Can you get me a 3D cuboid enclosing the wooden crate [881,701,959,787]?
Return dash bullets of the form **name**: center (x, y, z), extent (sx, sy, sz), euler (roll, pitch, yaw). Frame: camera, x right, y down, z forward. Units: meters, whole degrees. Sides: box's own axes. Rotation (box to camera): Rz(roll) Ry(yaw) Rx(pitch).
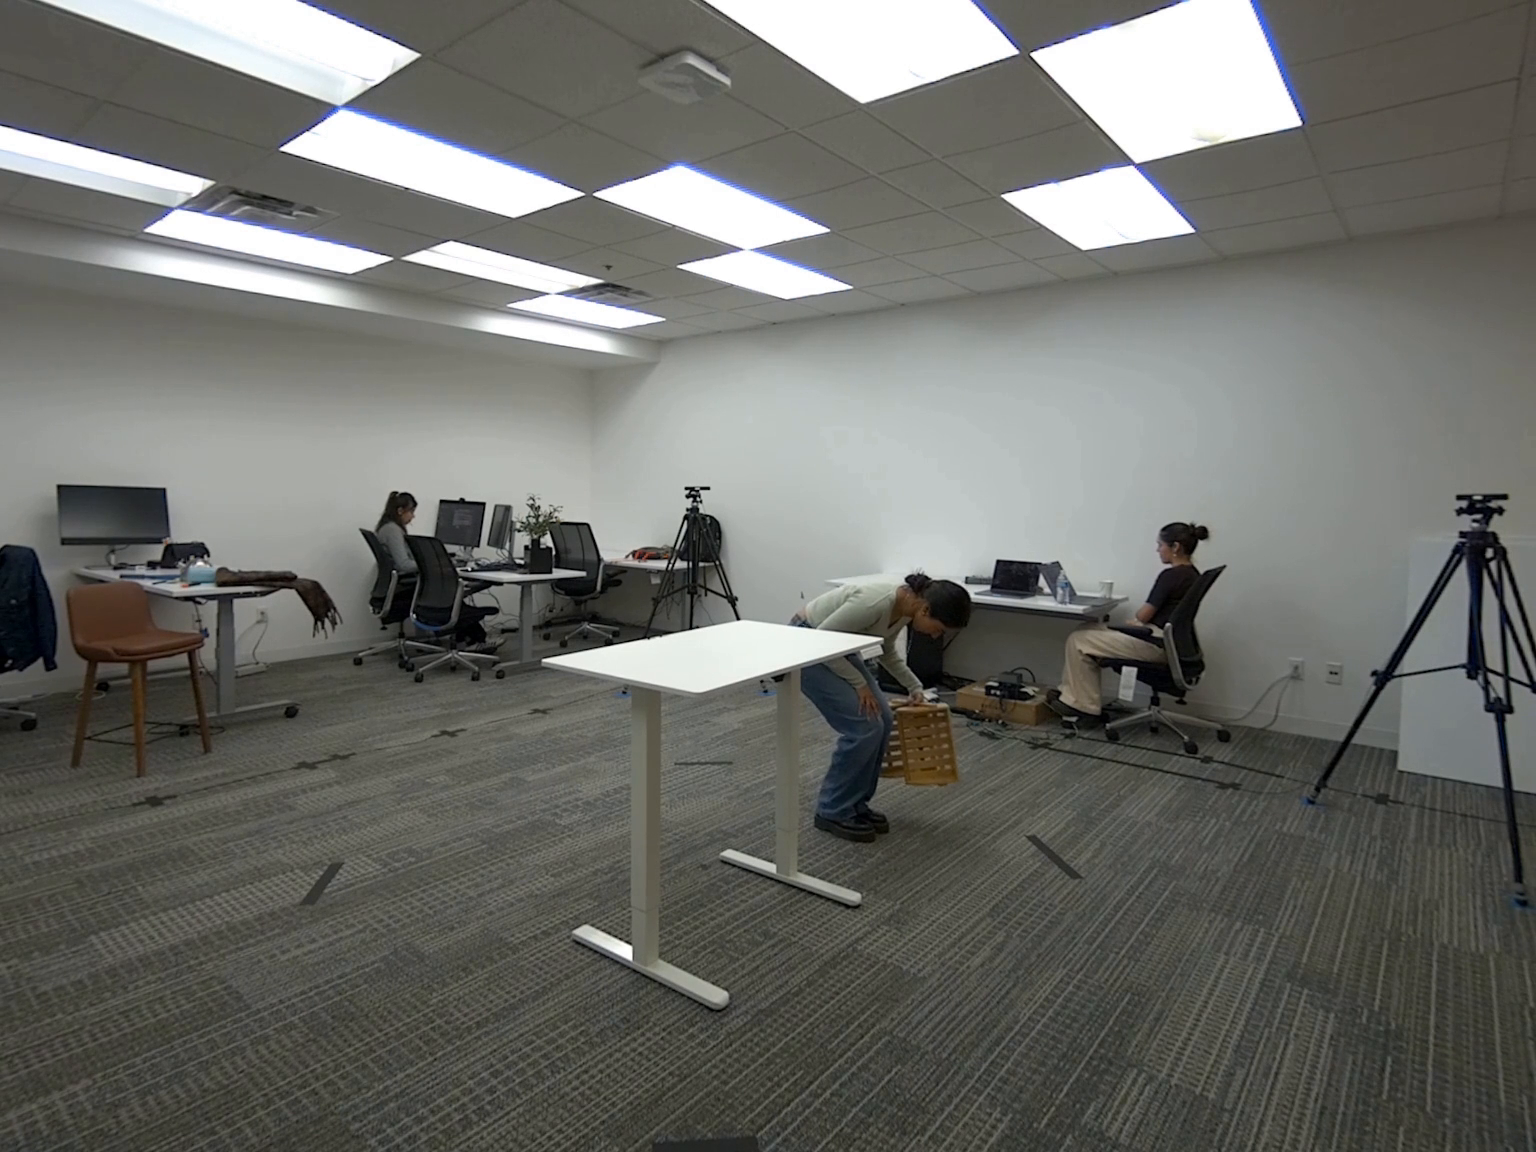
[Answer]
- **wooden crate**: center (0.595, 0.696, 3.542), extent (0.302, 0.325, 0.272), euler (-8, -1, 1)
